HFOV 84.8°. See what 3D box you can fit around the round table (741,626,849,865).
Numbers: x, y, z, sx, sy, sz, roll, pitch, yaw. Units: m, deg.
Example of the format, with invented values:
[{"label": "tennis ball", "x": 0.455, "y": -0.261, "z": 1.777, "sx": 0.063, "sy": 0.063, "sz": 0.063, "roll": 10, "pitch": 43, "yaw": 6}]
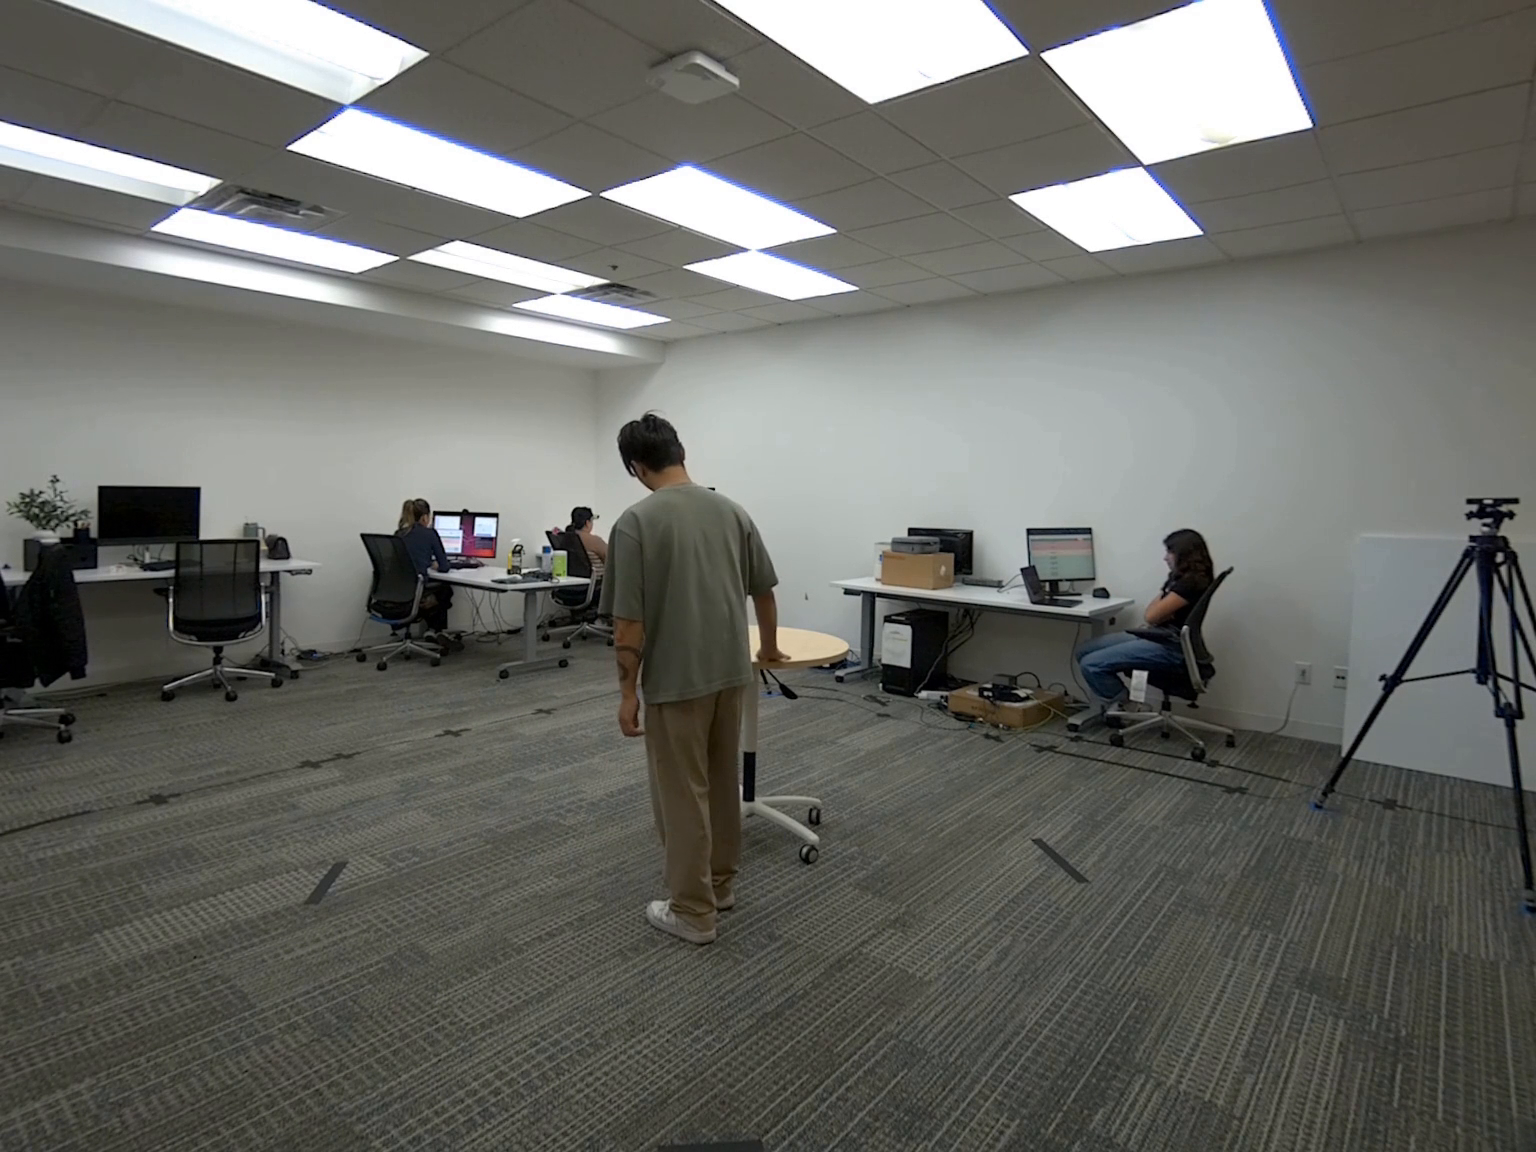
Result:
[{"label": "round table", "x": -0.079, "y": 0.650, "z": 3.414, "sx": 0.763, "sy": 0.791, "sz": 0.768, "roll": 1, "pitch": 4, "yaw": -2}]
